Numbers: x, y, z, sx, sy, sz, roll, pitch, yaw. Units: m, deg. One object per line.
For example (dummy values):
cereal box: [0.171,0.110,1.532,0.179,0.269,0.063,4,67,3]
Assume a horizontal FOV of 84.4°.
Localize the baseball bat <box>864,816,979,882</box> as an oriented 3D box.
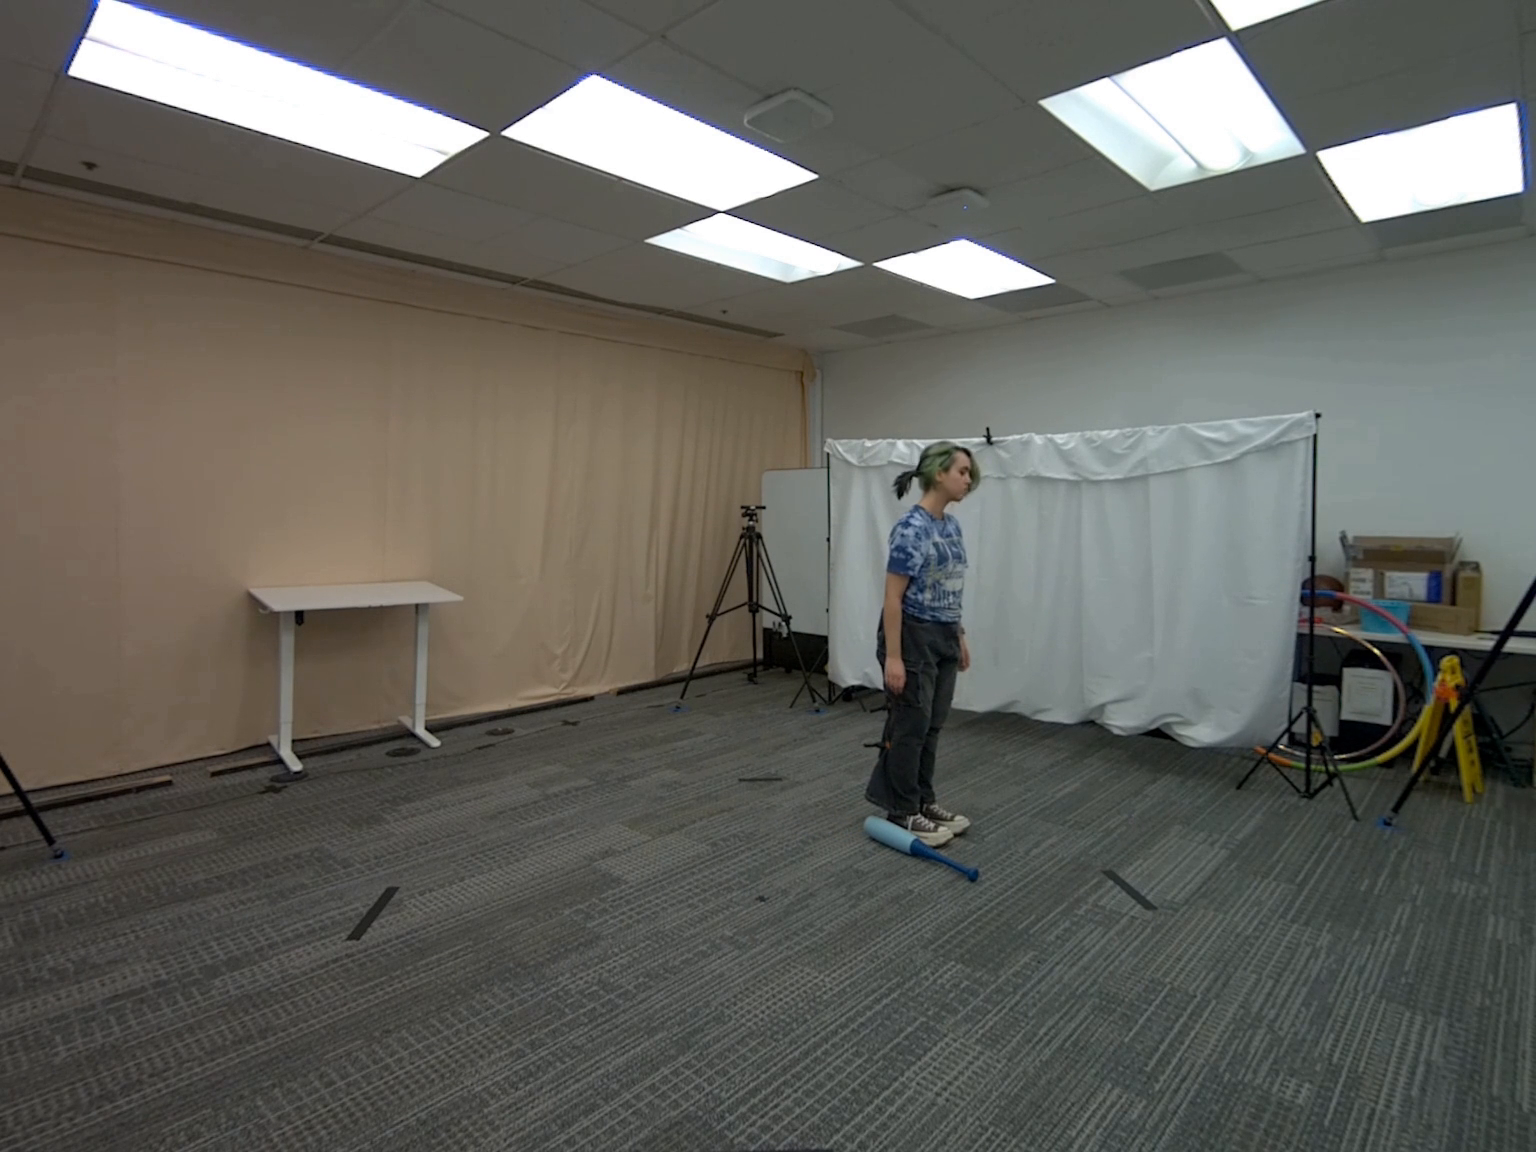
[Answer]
baseball bat: [0.602,1.078,3.333,0.086,0.089,0.562,-3,8,-39]
